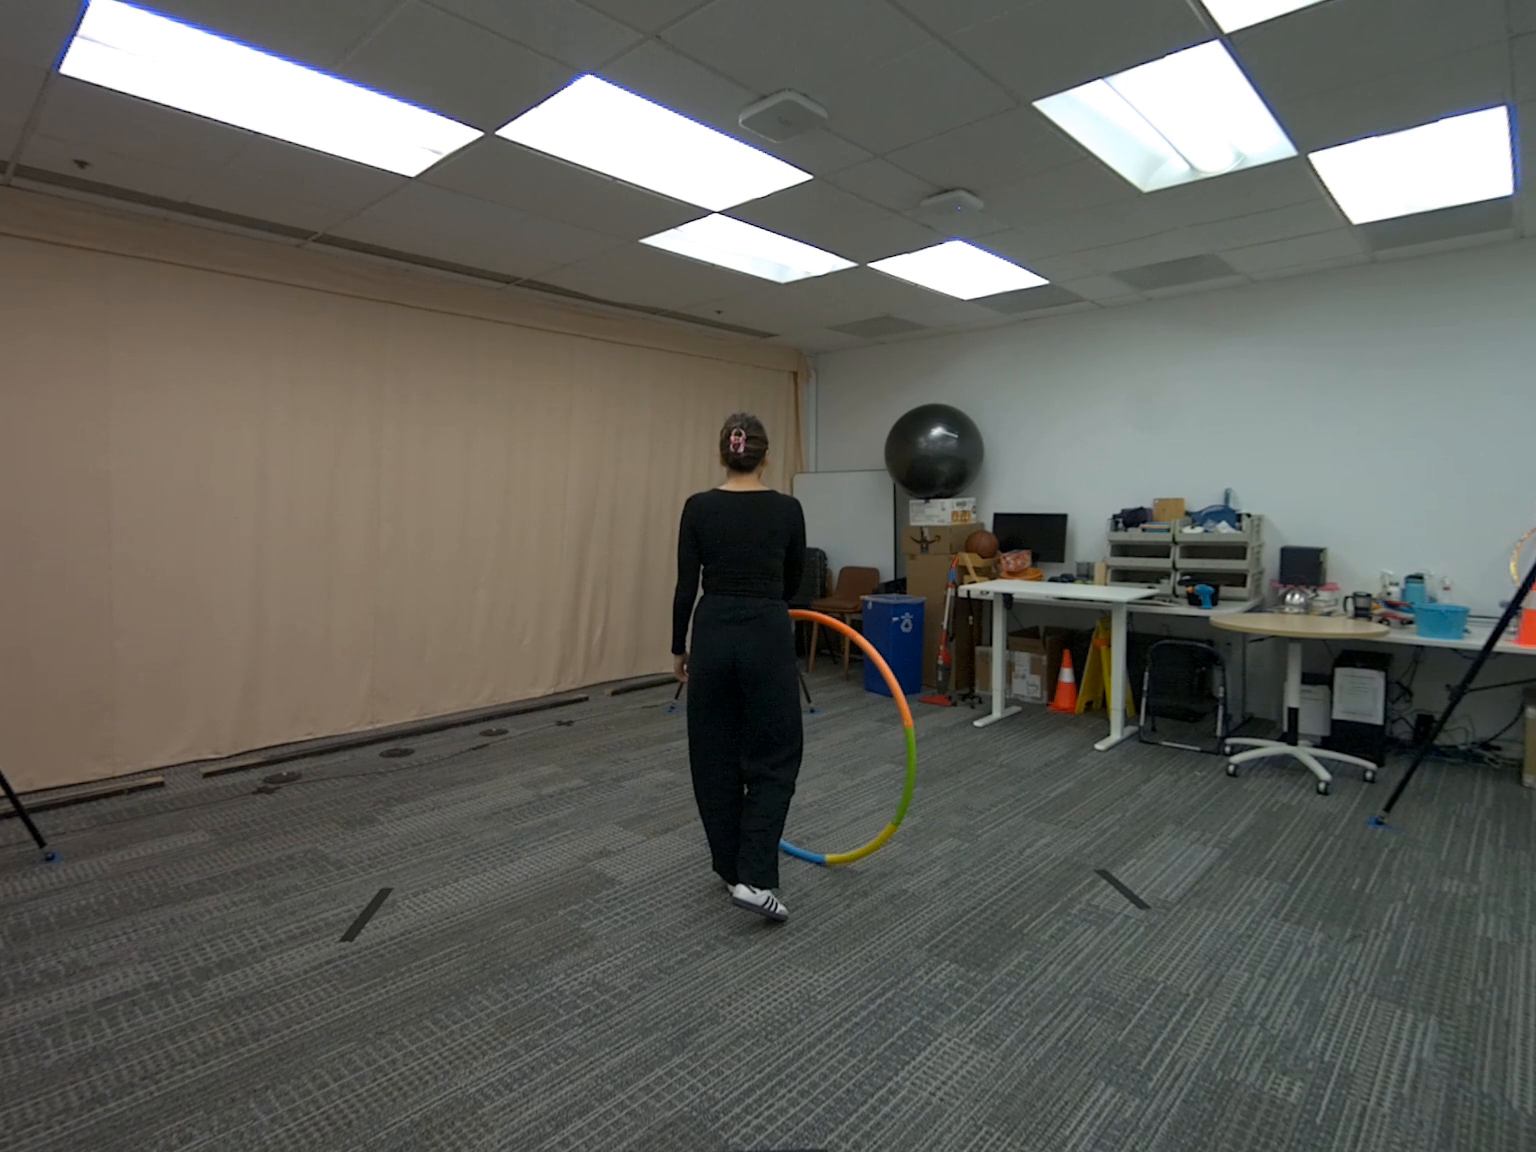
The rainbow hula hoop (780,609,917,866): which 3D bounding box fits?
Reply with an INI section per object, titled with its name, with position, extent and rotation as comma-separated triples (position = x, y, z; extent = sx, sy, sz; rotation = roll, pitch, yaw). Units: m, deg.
[rainbow hula hoop]
position = 0.143, 0.624, 3.296
extent = 1.011, 0.976, 0.034
rotation = 3, 5, 42
